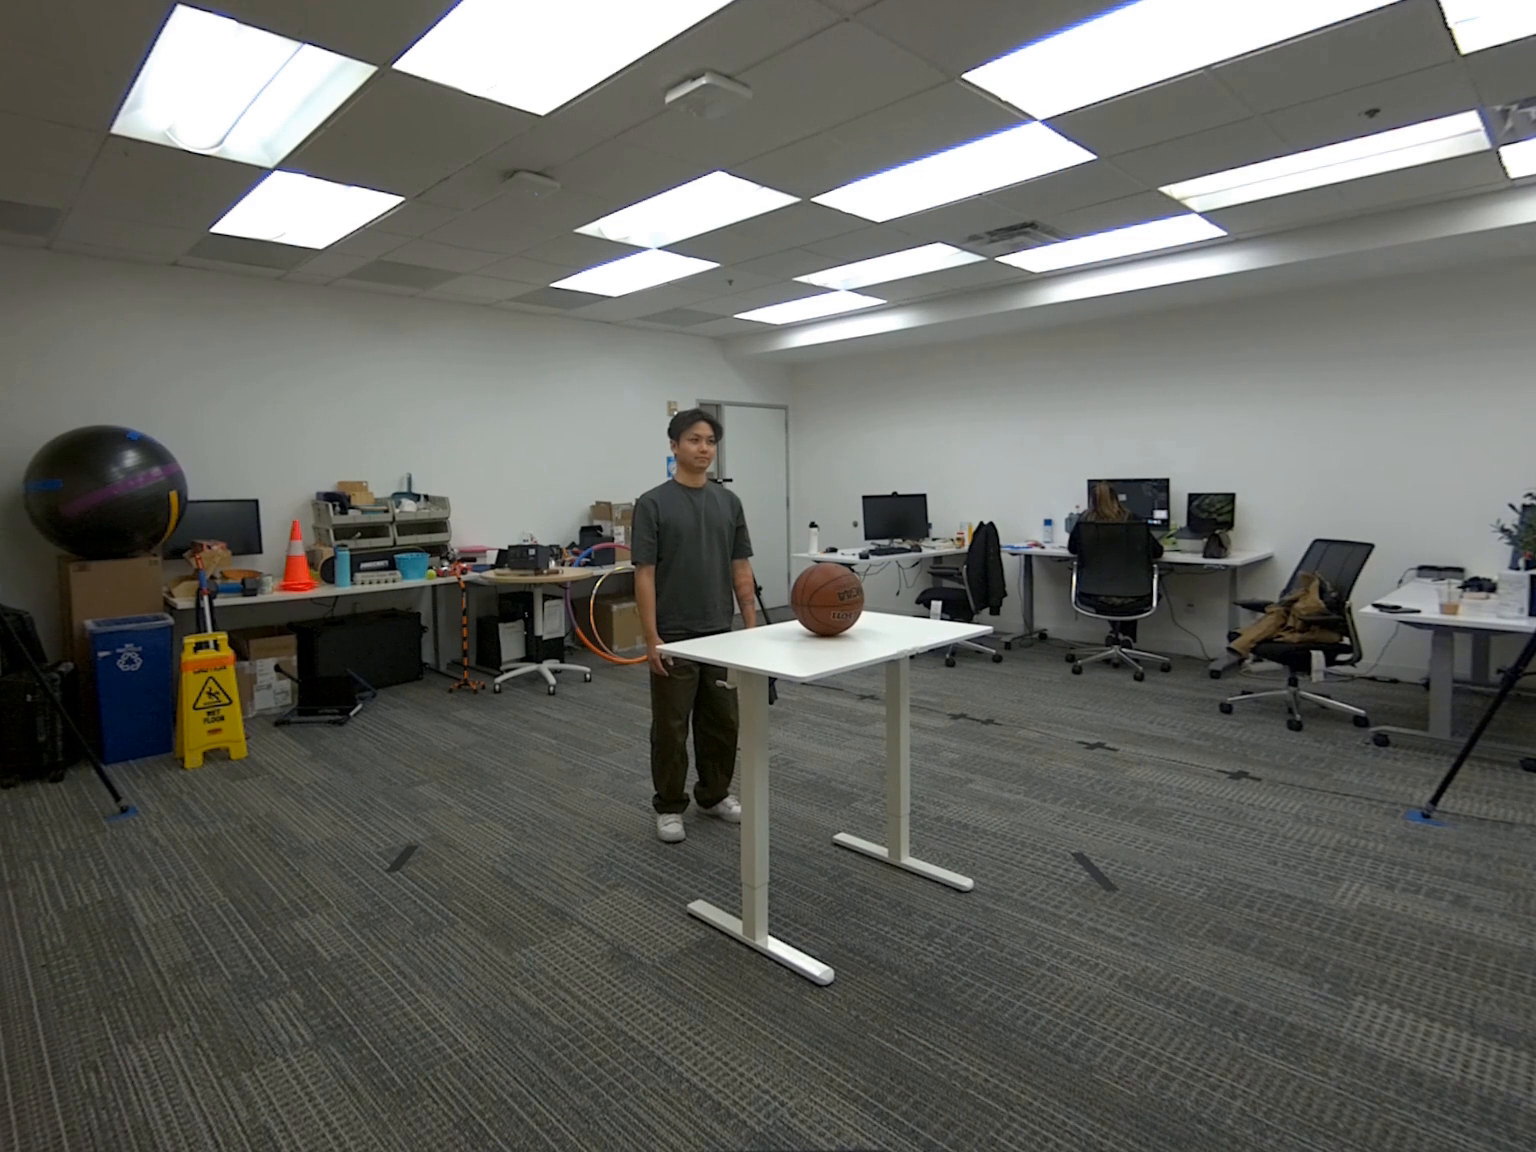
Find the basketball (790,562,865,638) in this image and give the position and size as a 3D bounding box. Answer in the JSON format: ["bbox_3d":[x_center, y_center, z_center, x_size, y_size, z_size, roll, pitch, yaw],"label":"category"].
[{"bbox_3d":[0.196,0.077,2.795,0.236,0.235,0.237,-1,5,-2],"label":"basketball"}]
